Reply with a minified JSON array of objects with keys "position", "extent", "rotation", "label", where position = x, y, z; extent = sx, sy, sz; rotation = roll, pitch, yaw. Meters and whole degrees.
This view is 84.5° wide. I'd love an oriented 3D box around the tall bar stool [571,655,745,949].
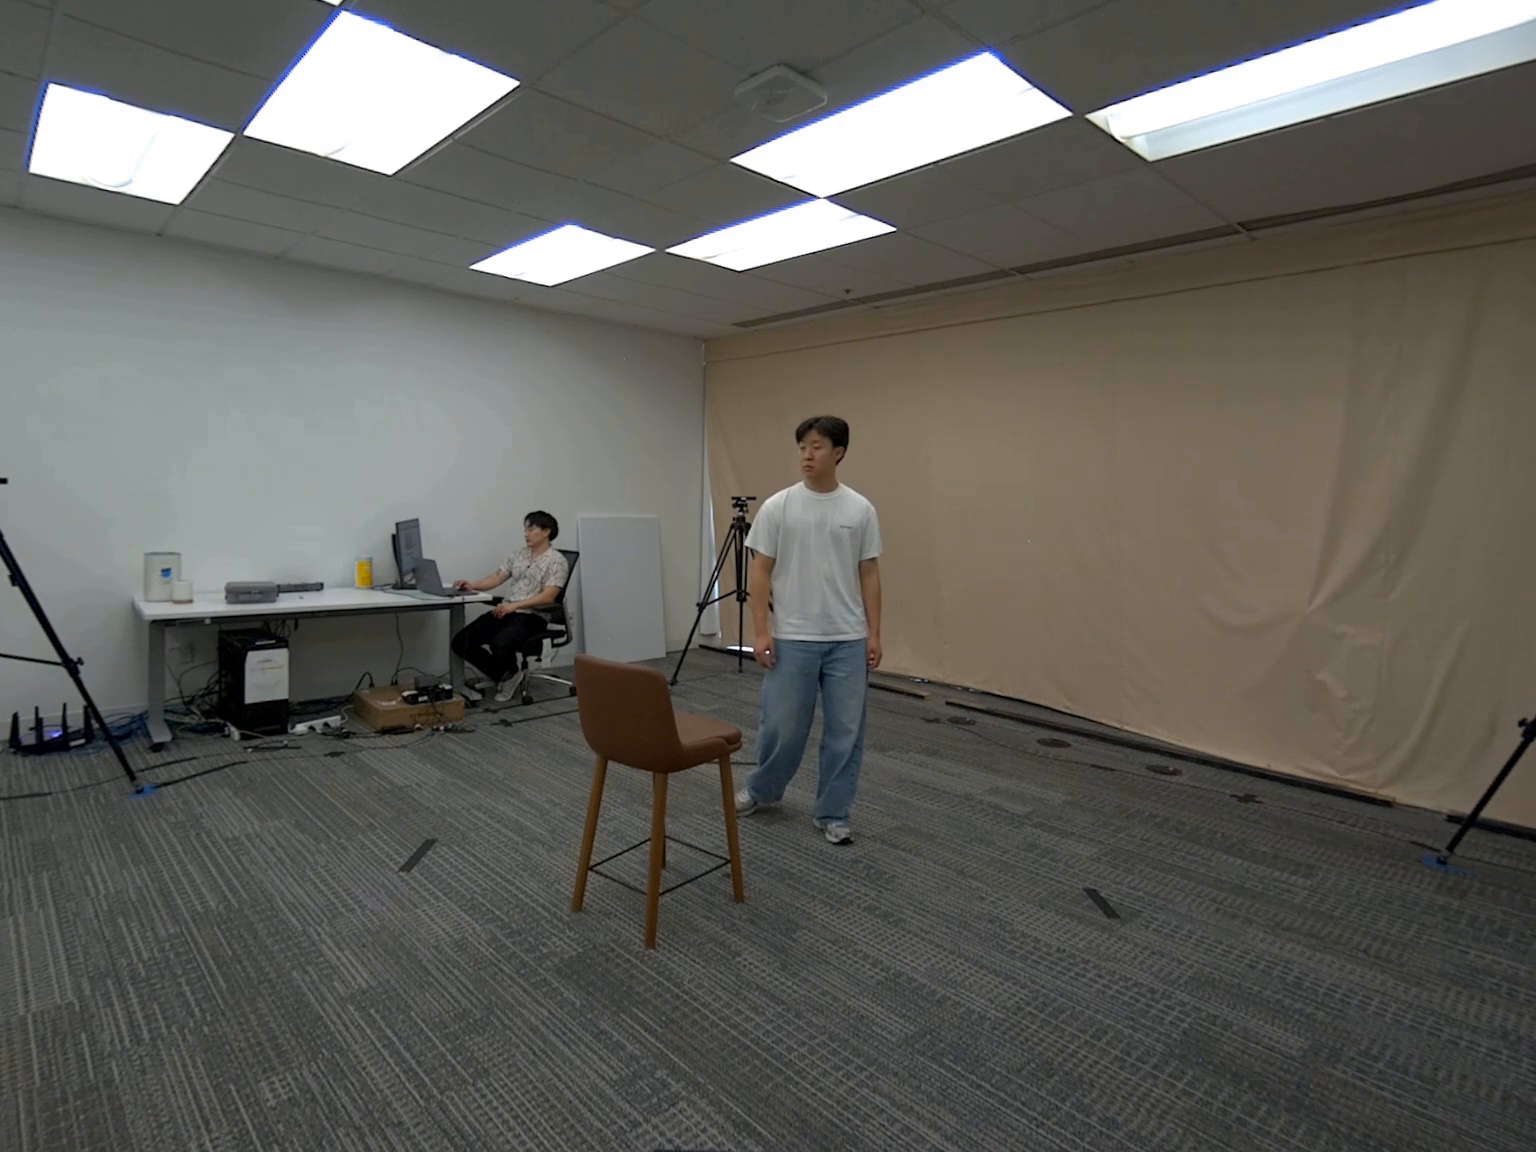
[{"position":[-0.378,0.687,2.845],"extent":[0.468,0.886,0.458],"rotation":[4,6,39],"label":"tall bar stool"}]
